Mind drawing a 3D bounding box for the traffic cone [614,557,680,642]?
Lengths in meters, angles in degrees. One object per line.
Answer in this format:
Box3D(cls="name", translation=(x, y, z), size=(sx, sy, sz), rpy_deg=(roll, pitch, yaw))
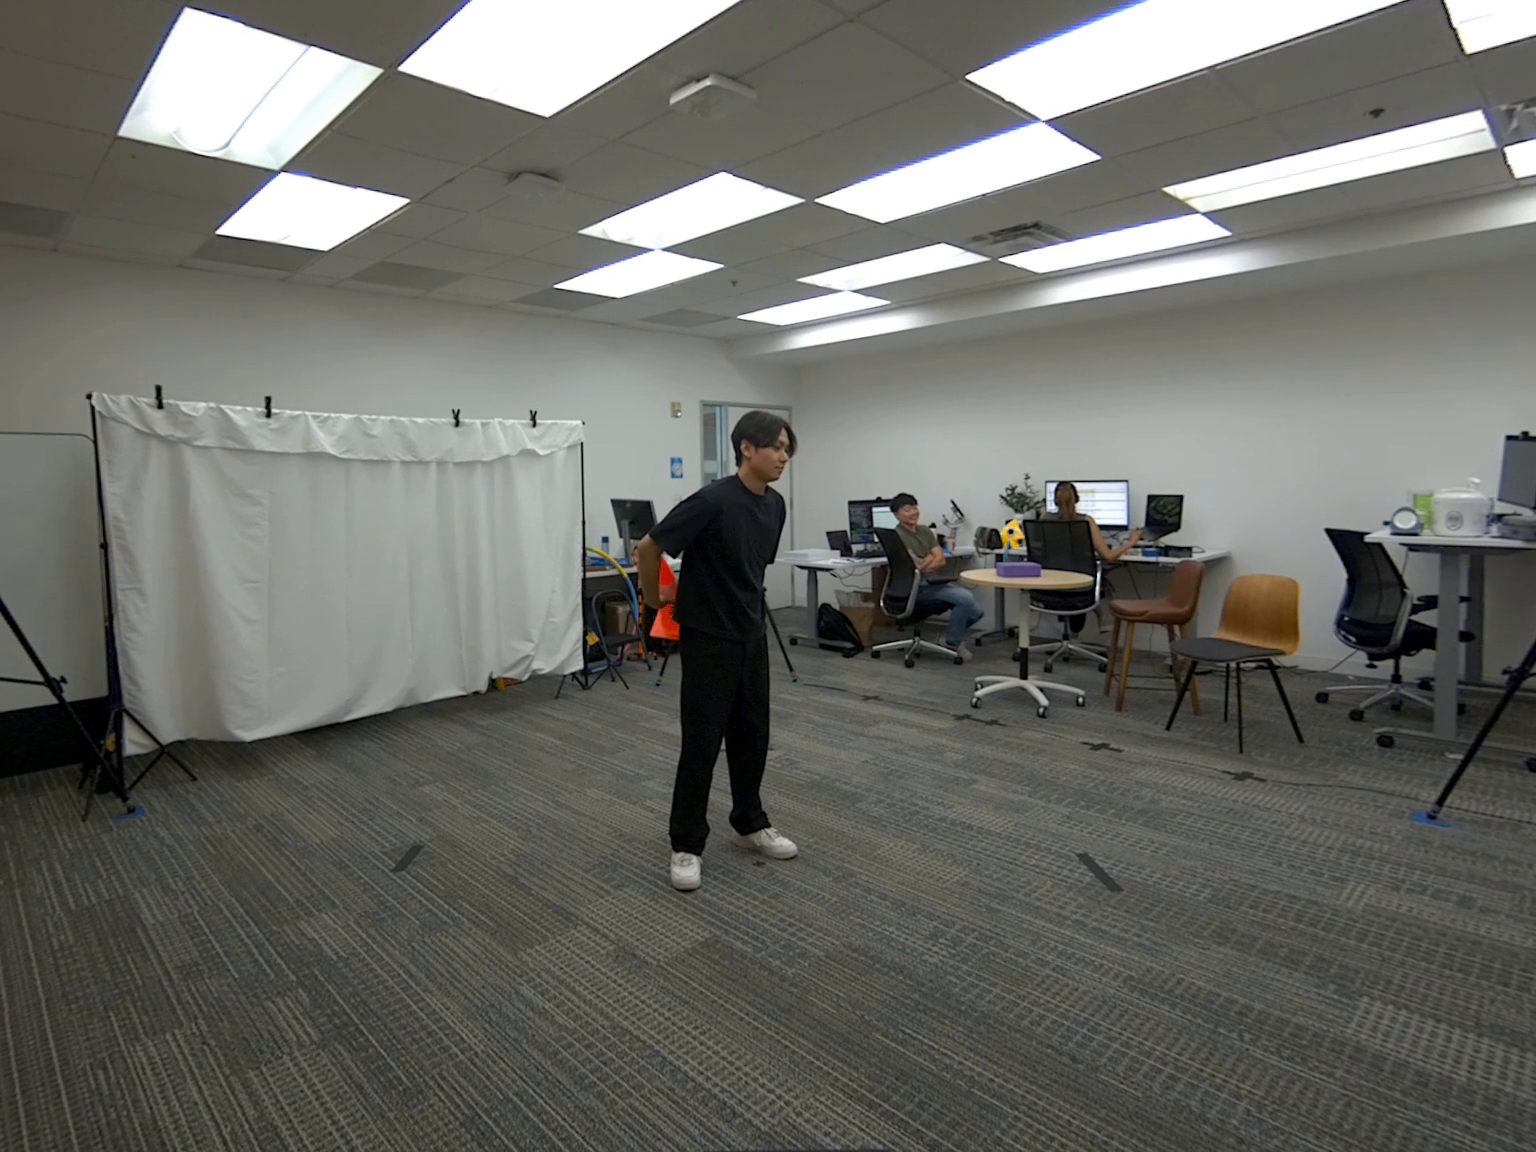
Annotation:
Box3D(cls="traffic cone", translation=(-0.372, 0.048, 3.228), size=(0.207, 0.208, 0.371), rpy_deg=(6, -38, 15))
